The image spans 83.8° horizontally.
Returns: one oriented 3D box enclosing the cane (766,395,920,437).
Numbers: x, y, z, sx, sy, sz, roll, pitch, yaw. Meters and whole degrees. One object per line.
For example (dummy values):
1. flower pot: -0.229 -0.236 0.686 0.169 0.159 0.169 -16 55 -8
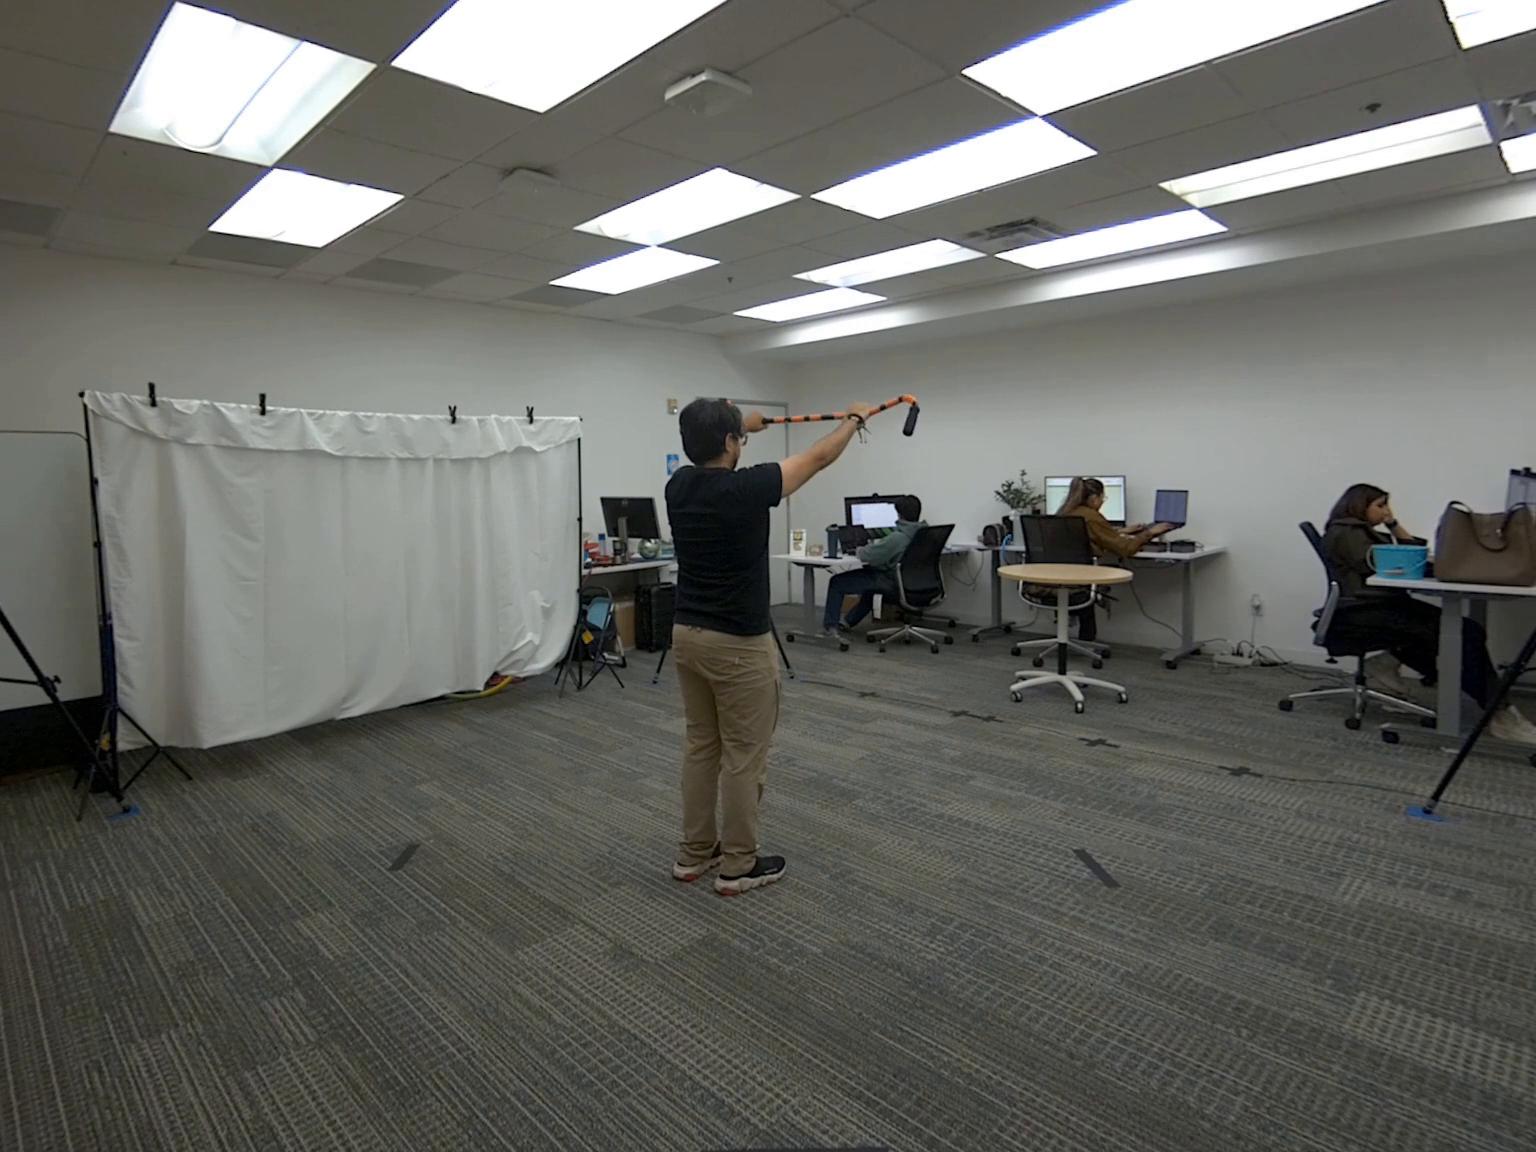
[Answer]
1. cane: 0.167 -0.592 3.269 0.935 0.208 0.146 4 -30 39
